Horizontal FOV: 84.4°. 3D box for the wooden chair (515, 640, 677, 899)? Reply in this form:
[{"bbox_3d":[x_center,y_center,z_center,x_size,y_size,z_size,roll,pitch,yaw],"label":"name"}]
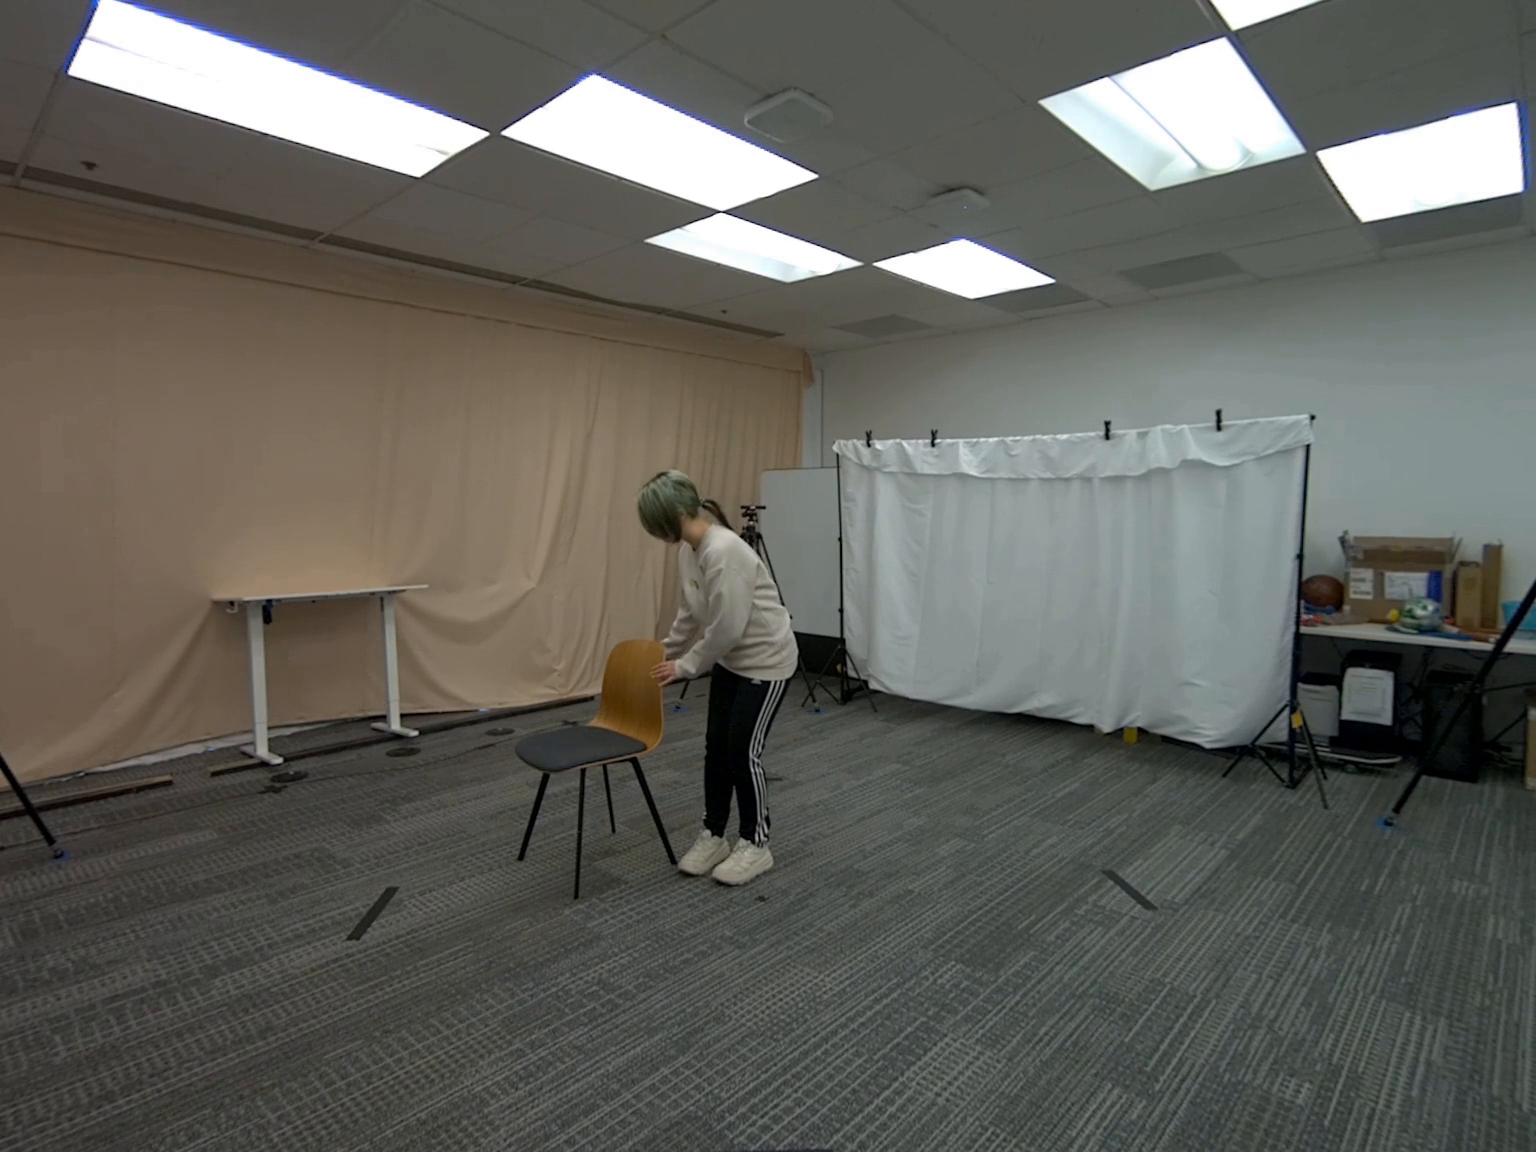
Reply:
[{"bbox_3d":[-0.681,0.703,3.271,0.506,0.877,0.494,2,1,-41],"label":"wooden chair"}]
